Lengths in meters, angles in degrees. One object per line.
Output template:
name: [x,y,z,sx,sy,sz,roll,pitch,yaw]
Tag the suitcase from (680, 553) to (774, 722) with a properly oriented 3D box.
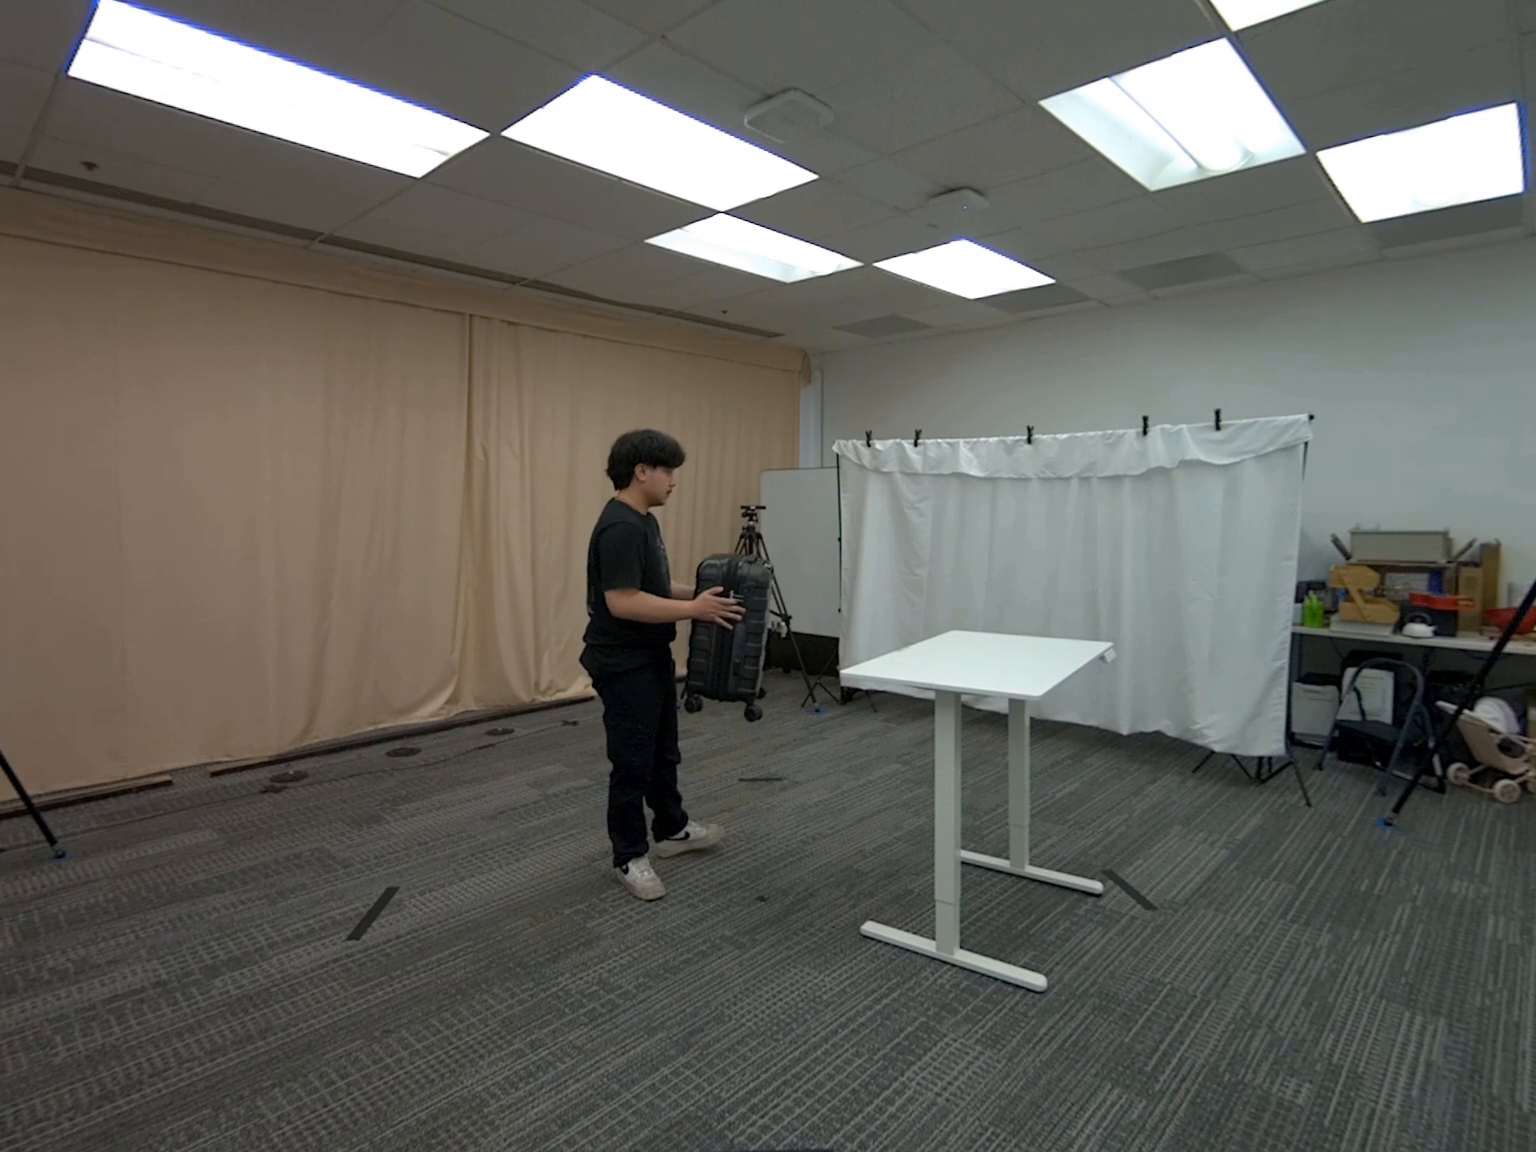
suitcase: [-0.130,0.189,3.041,0.250,0.547,0.374,7,6,5]
